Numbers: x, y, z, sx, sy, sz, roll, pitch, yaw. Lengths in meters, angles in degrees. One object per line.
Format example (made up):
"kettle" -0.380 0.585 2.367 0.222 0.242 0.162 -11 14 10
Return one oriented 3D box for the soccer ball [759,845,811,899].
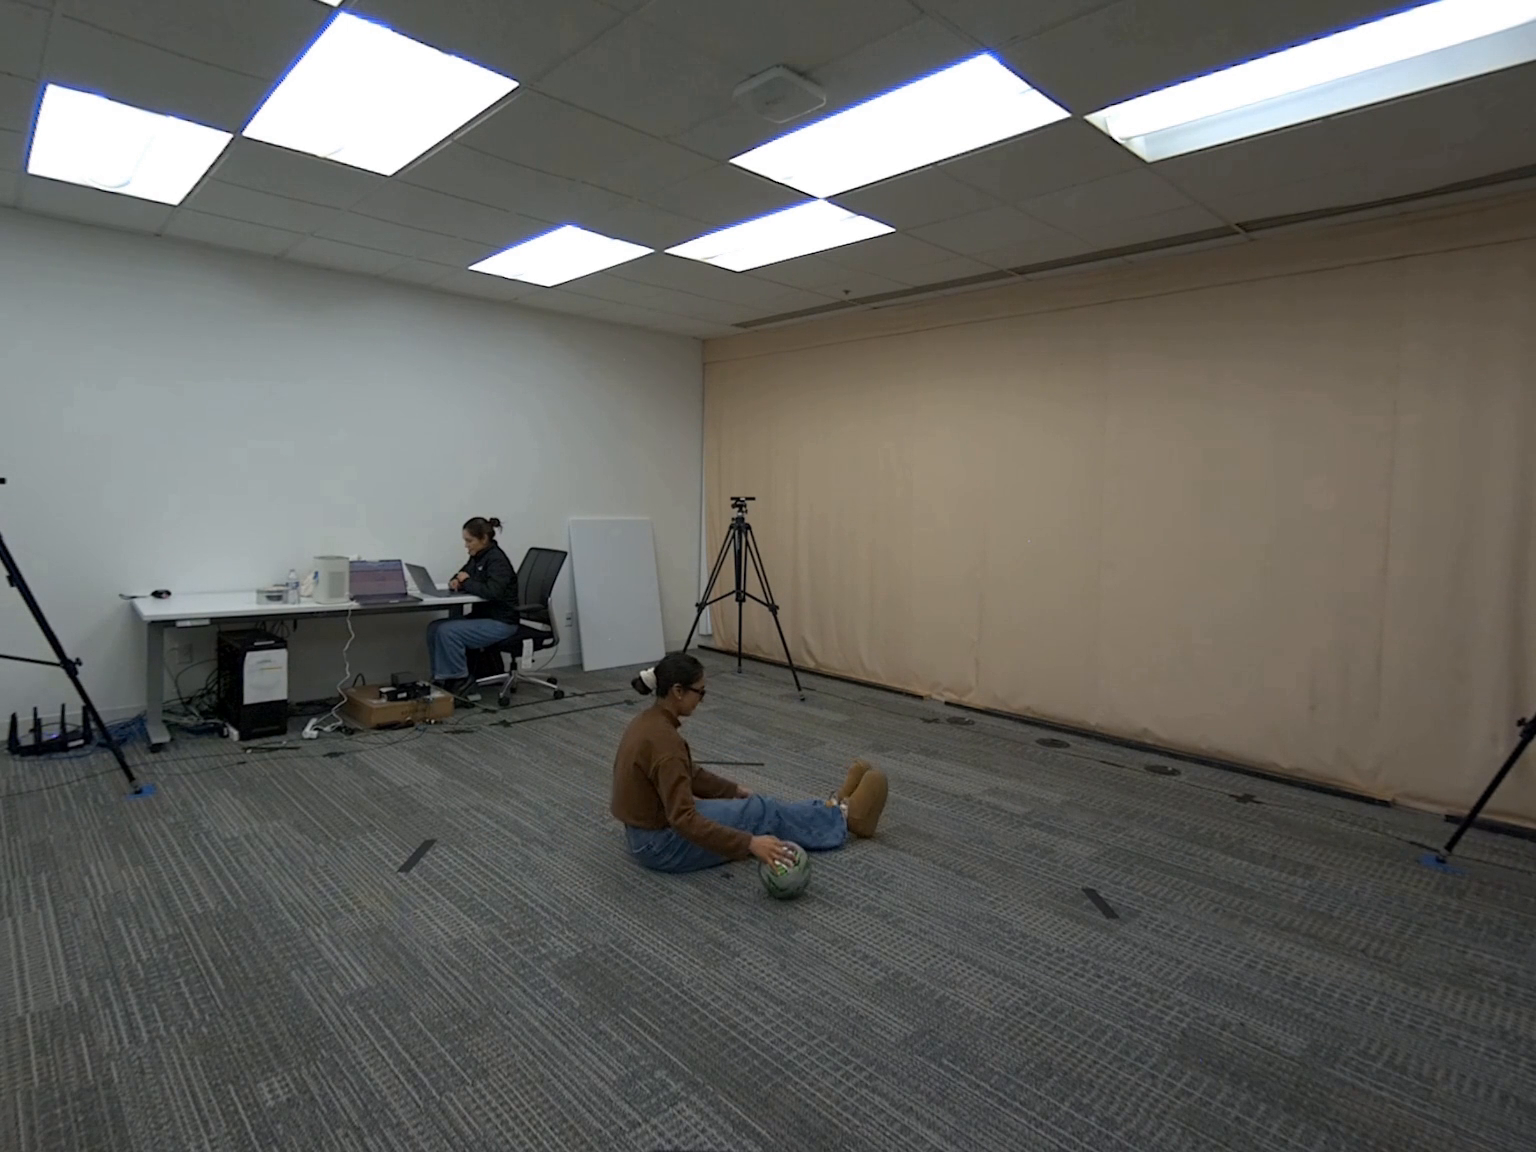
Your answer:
"soccer ball" 0.054 1.029 2.956 0.187 0.187 0.188 1 4 -1
